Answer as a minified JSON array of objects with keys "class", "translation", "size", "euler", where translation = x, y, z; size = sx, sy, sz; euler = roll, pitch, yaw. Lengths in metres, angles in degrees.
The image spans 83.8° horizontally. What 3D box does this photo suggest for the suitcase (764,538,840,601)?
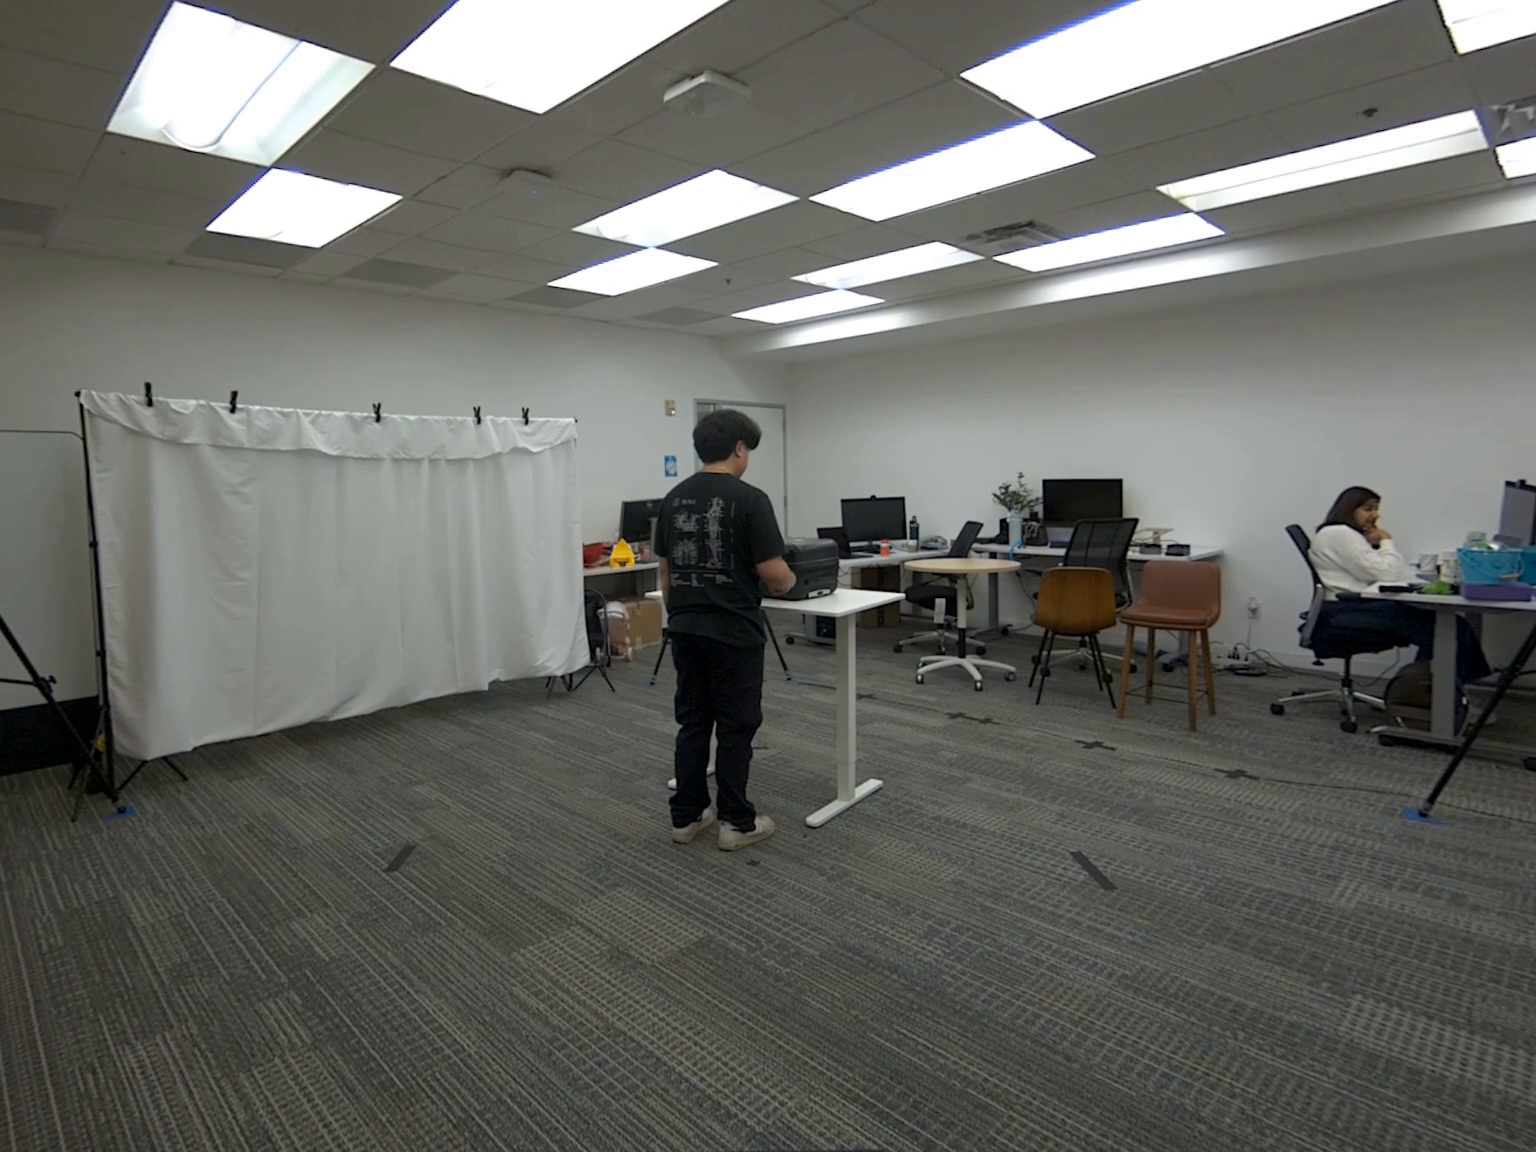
[{"class":"suitcase","translation":[0.031,-0.038,3.829],"size":[0.566,0.247,0.365],"euler":[4,7,42]}]
